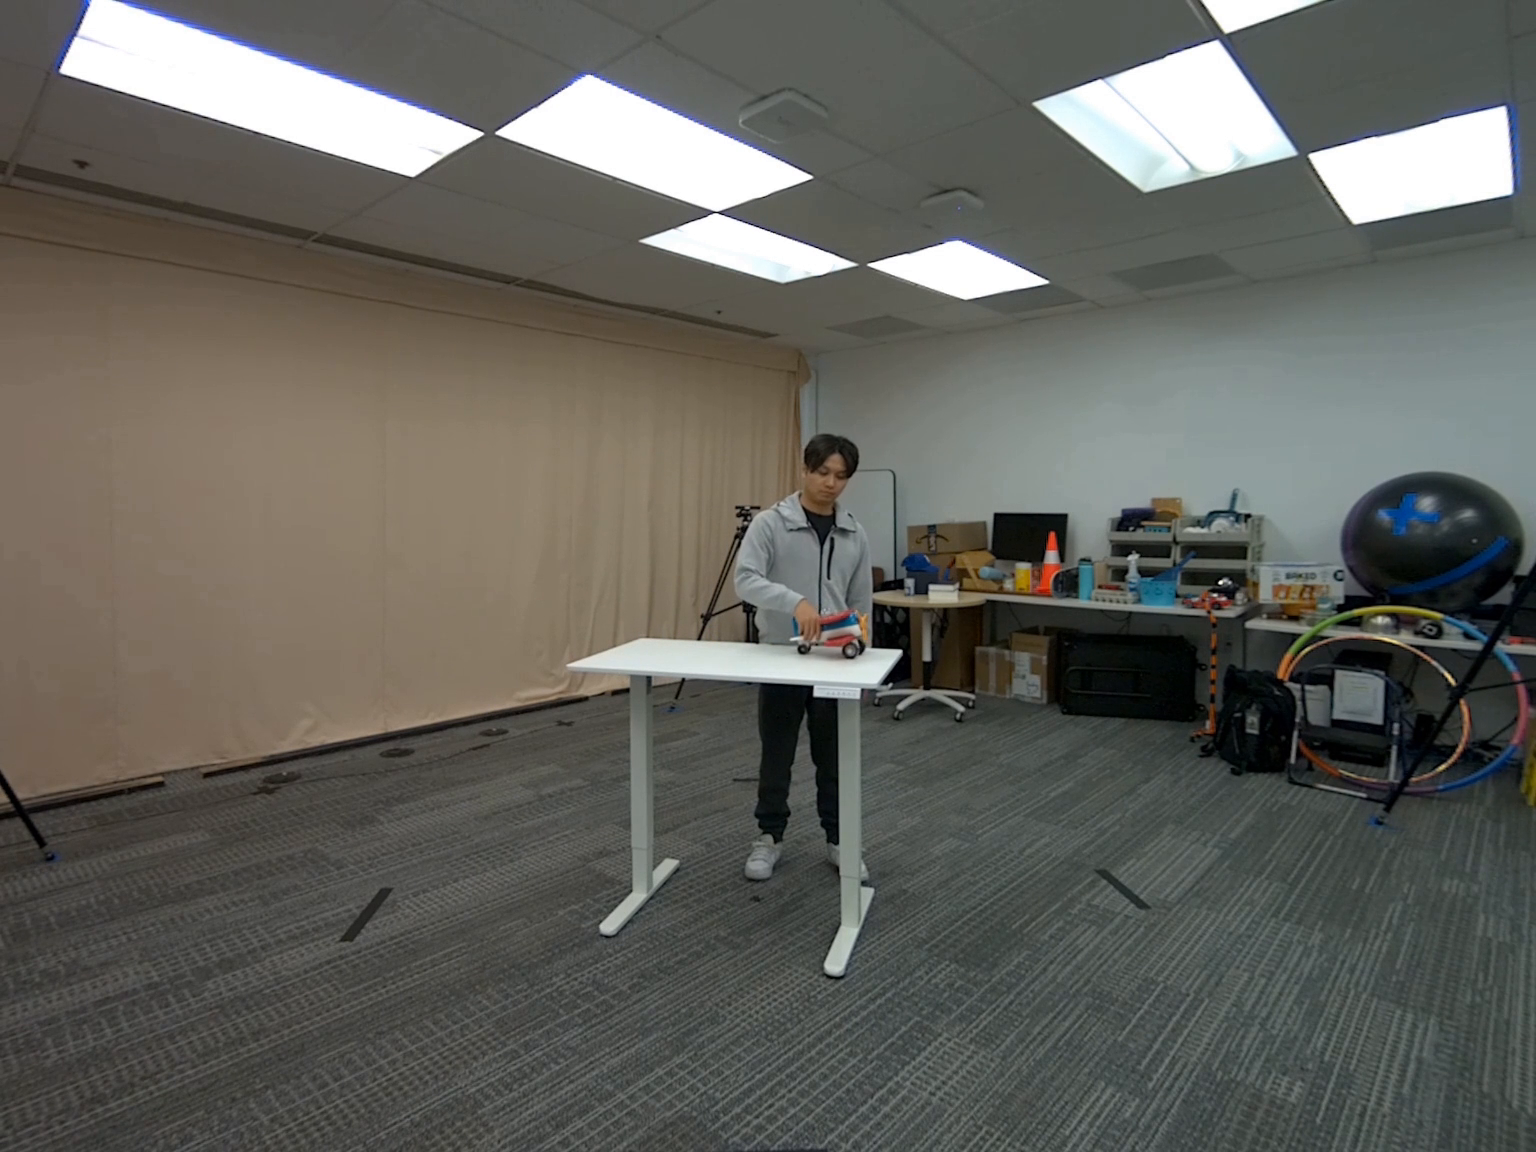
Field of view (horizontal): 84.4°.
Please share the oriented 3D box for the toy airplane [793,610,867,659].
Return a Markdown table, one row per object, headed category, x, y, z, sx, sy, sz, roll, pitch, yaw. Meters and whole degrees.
| category | x | y | z | sx | sy | sz | roll | pitch | yaw |
| --- | --- | --- | --- | --- | --- | --- | --- | --- | --- |
| toy airplane | 0.209 | 0.193 | 2.838 | 0.258 | 0.156 | 0.252 | 0 | 3 | -5 |
